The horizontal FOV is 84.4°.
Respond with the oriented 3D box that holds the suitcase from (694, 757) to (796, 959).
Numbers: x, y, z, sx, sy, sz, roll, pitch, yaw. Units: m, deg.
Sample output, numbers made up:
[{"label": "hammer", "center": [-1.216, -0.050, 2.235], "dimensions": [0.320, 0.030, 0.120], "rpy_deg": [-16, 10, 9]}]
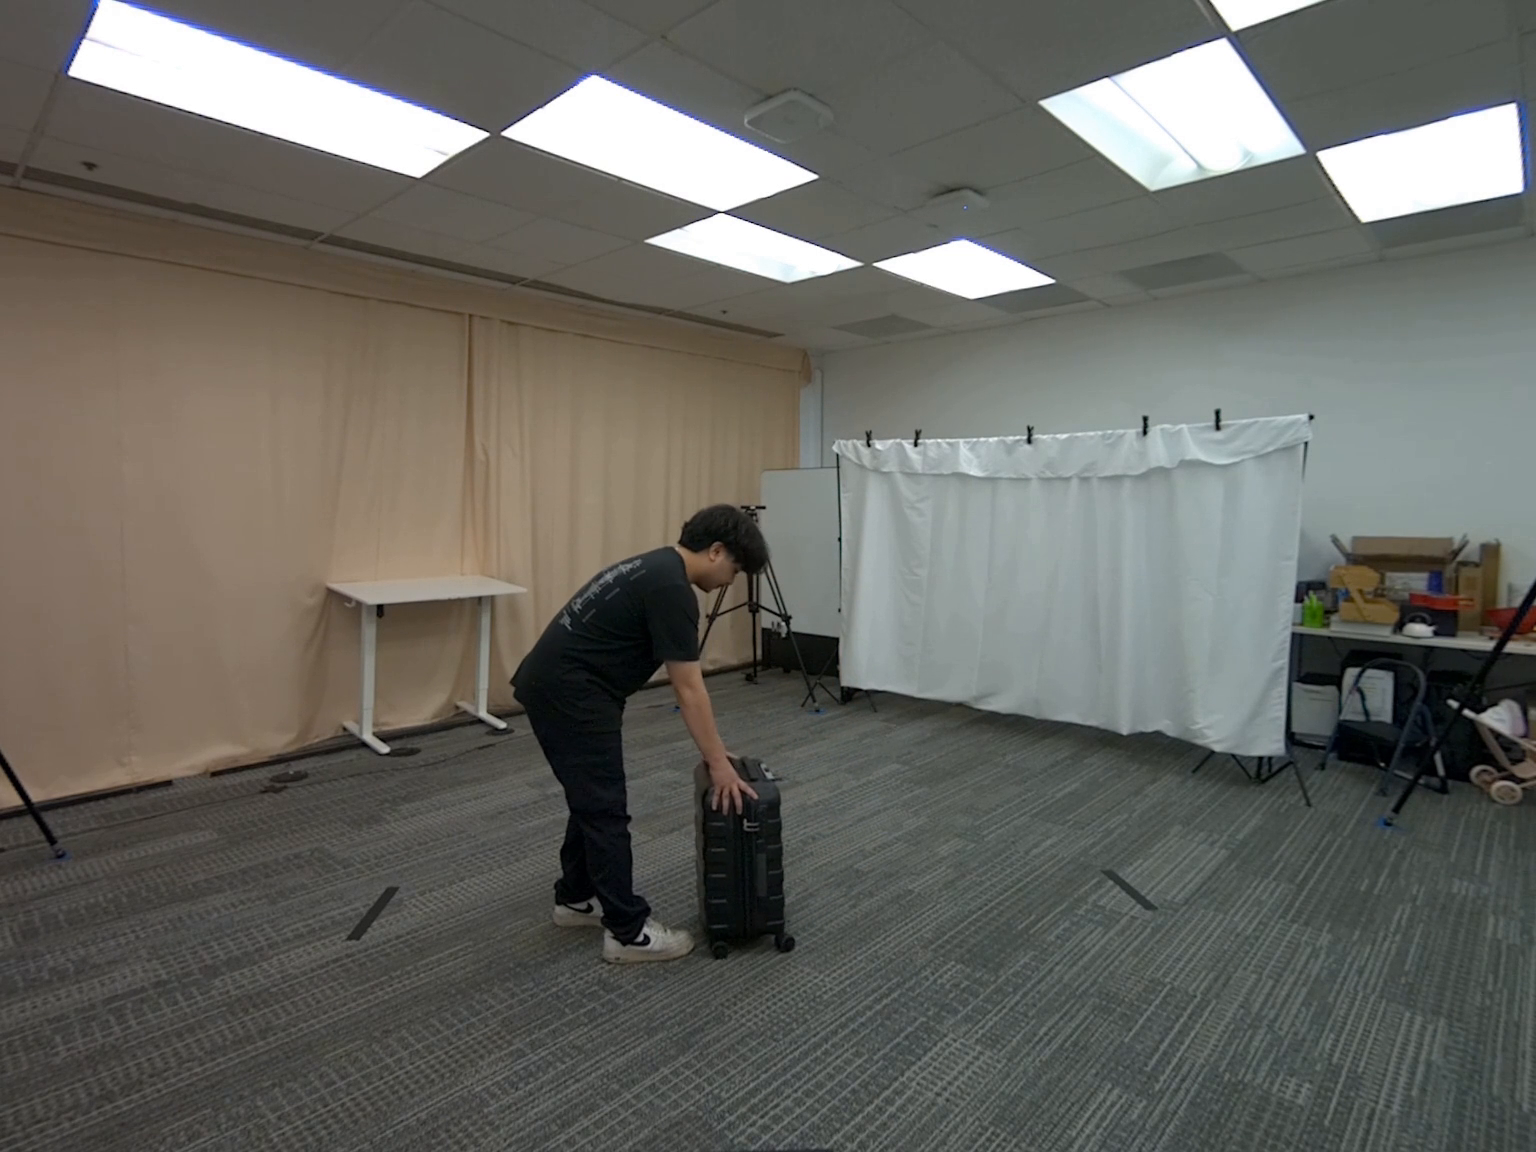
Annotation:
[{"label": "suitcase", "center": [-0.096, 0.891, 2.737], "dimensions": [0.246, 0.548, 0.380], "rpy_deg": [-2, 5, -11]}]
